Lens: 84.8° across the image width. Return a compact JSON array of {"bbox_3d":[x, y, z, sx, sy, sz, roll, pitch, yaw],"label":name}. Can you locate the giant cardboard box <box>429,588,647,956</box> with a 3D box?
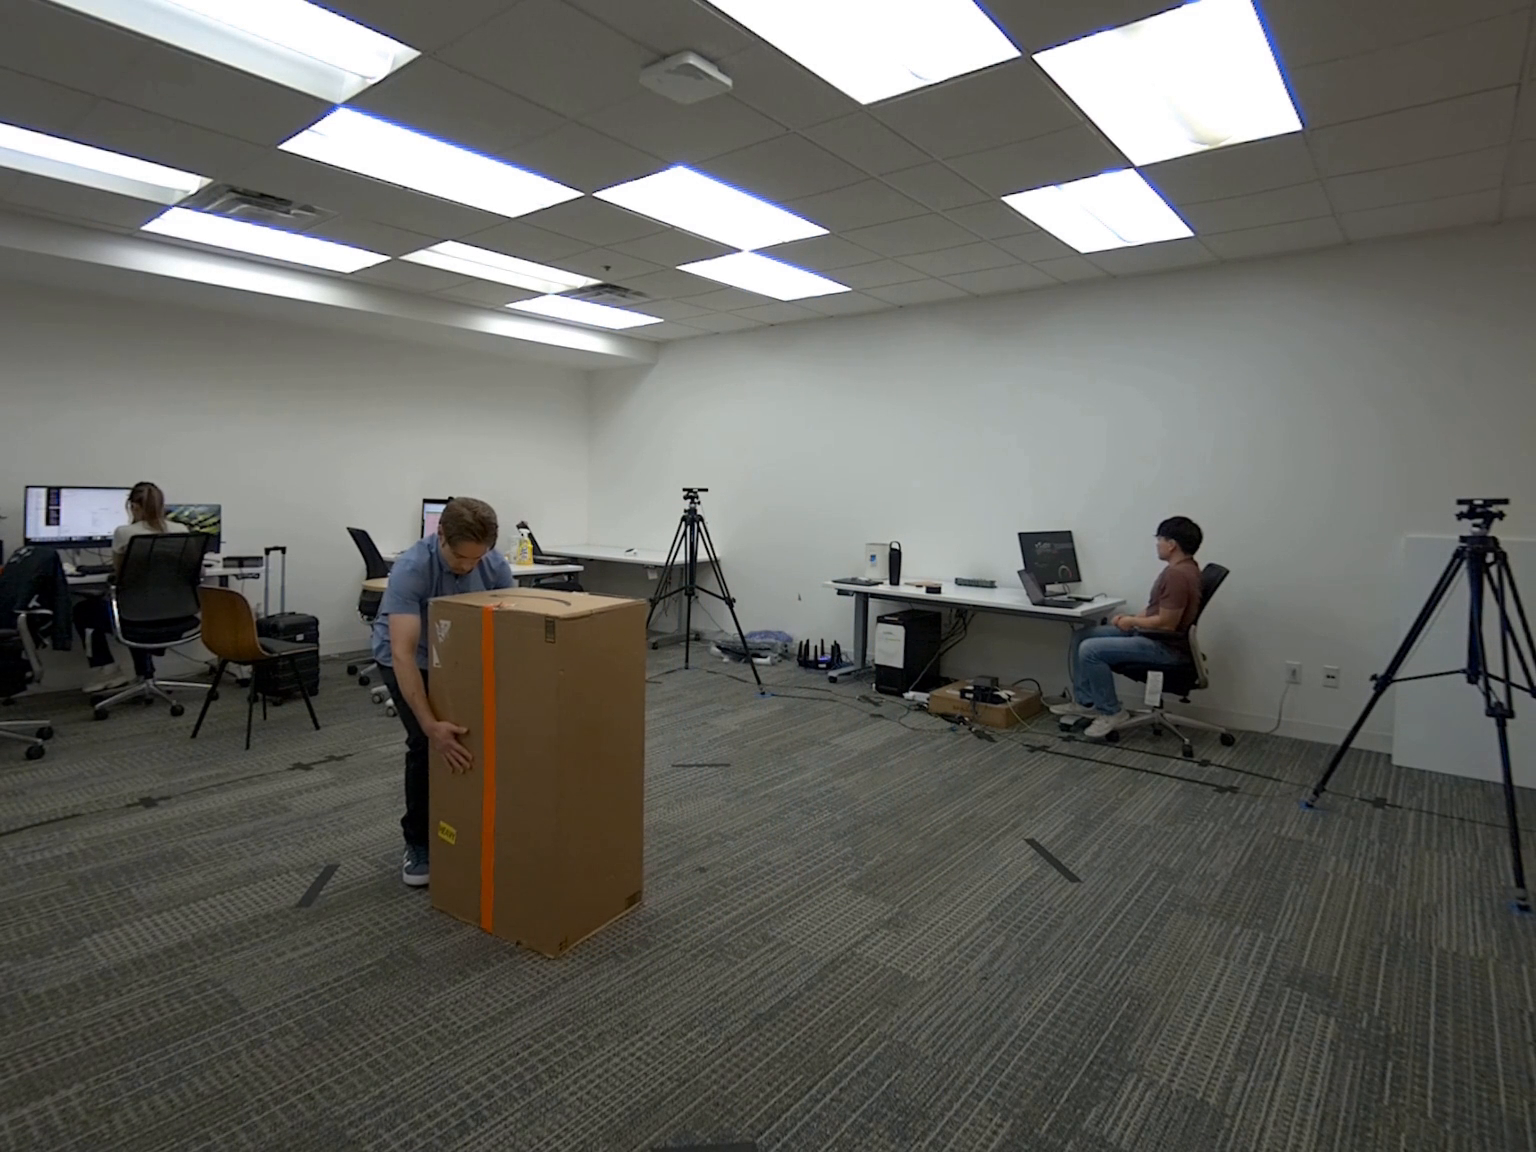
[{"bbox_3d":[-0.761,0.585,2.782,0.595,1.022,0.415,3,4,32],"label":"giant cardboard box"}]
